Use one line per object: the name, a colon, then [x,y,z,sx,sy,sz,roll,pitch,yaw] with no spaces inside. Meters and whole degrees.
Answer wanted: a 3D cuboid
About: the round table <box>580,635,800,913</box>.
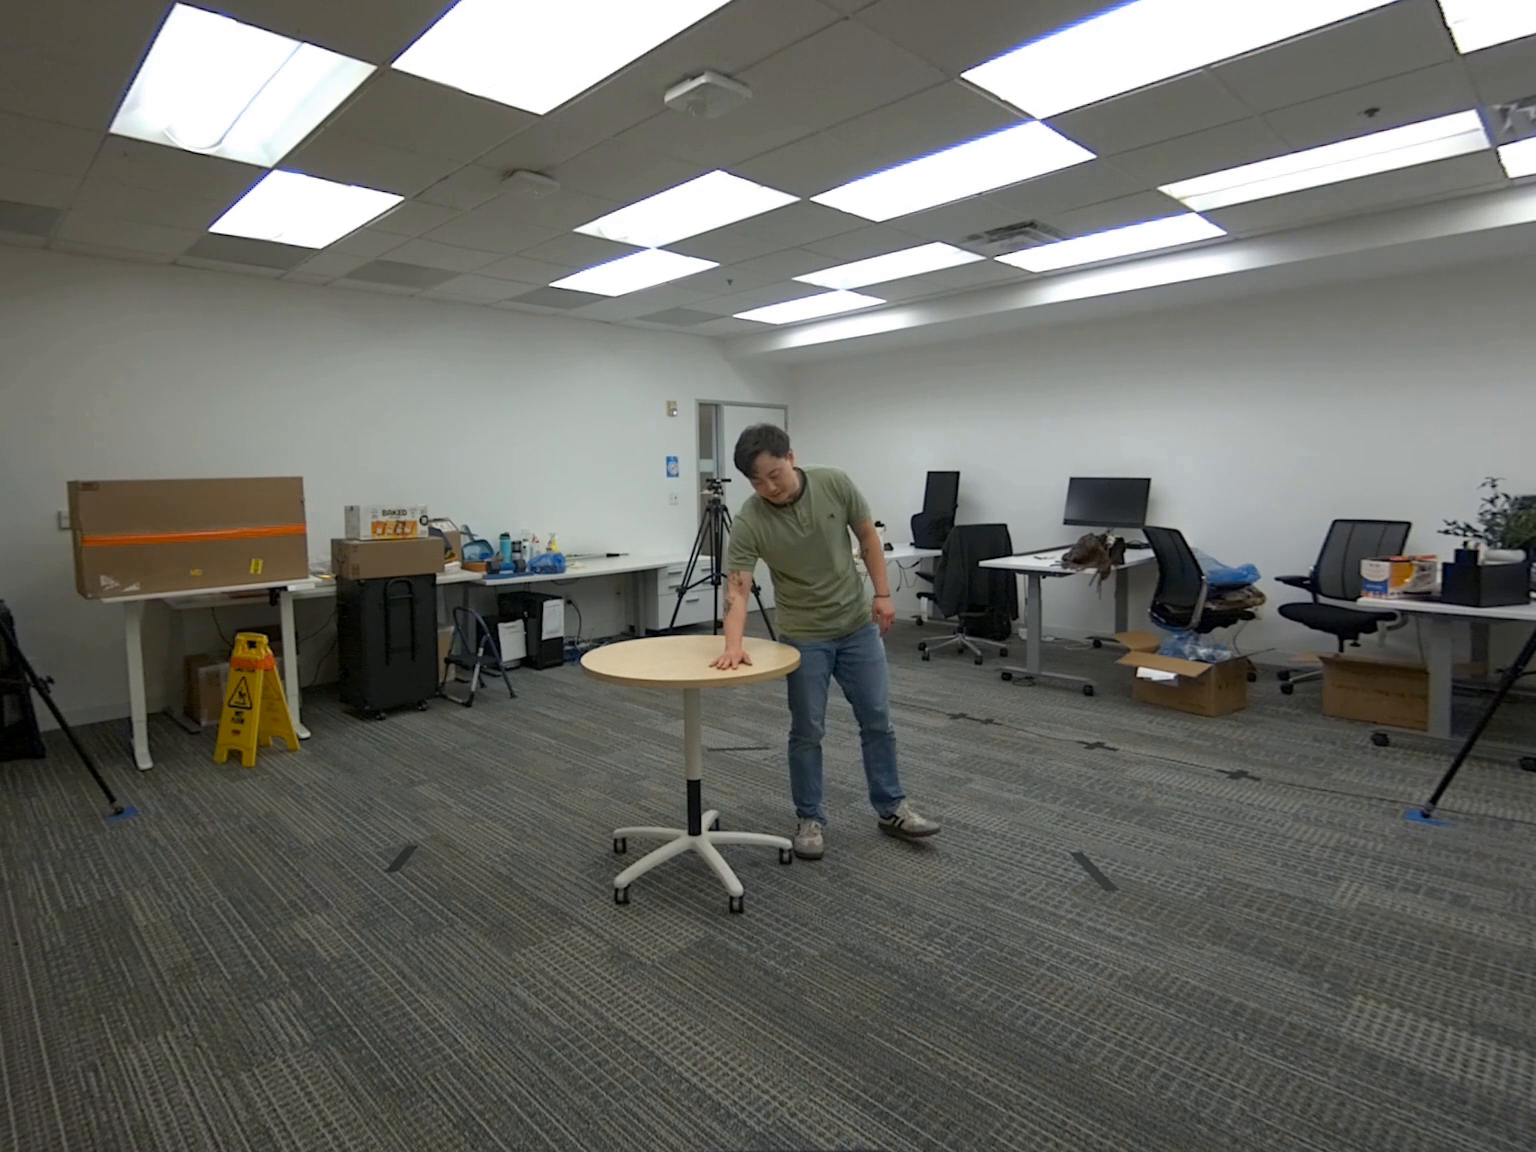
round table: [-0.263,0.669,3.018,0.763,0.791,0.768,-1,5,-2]
